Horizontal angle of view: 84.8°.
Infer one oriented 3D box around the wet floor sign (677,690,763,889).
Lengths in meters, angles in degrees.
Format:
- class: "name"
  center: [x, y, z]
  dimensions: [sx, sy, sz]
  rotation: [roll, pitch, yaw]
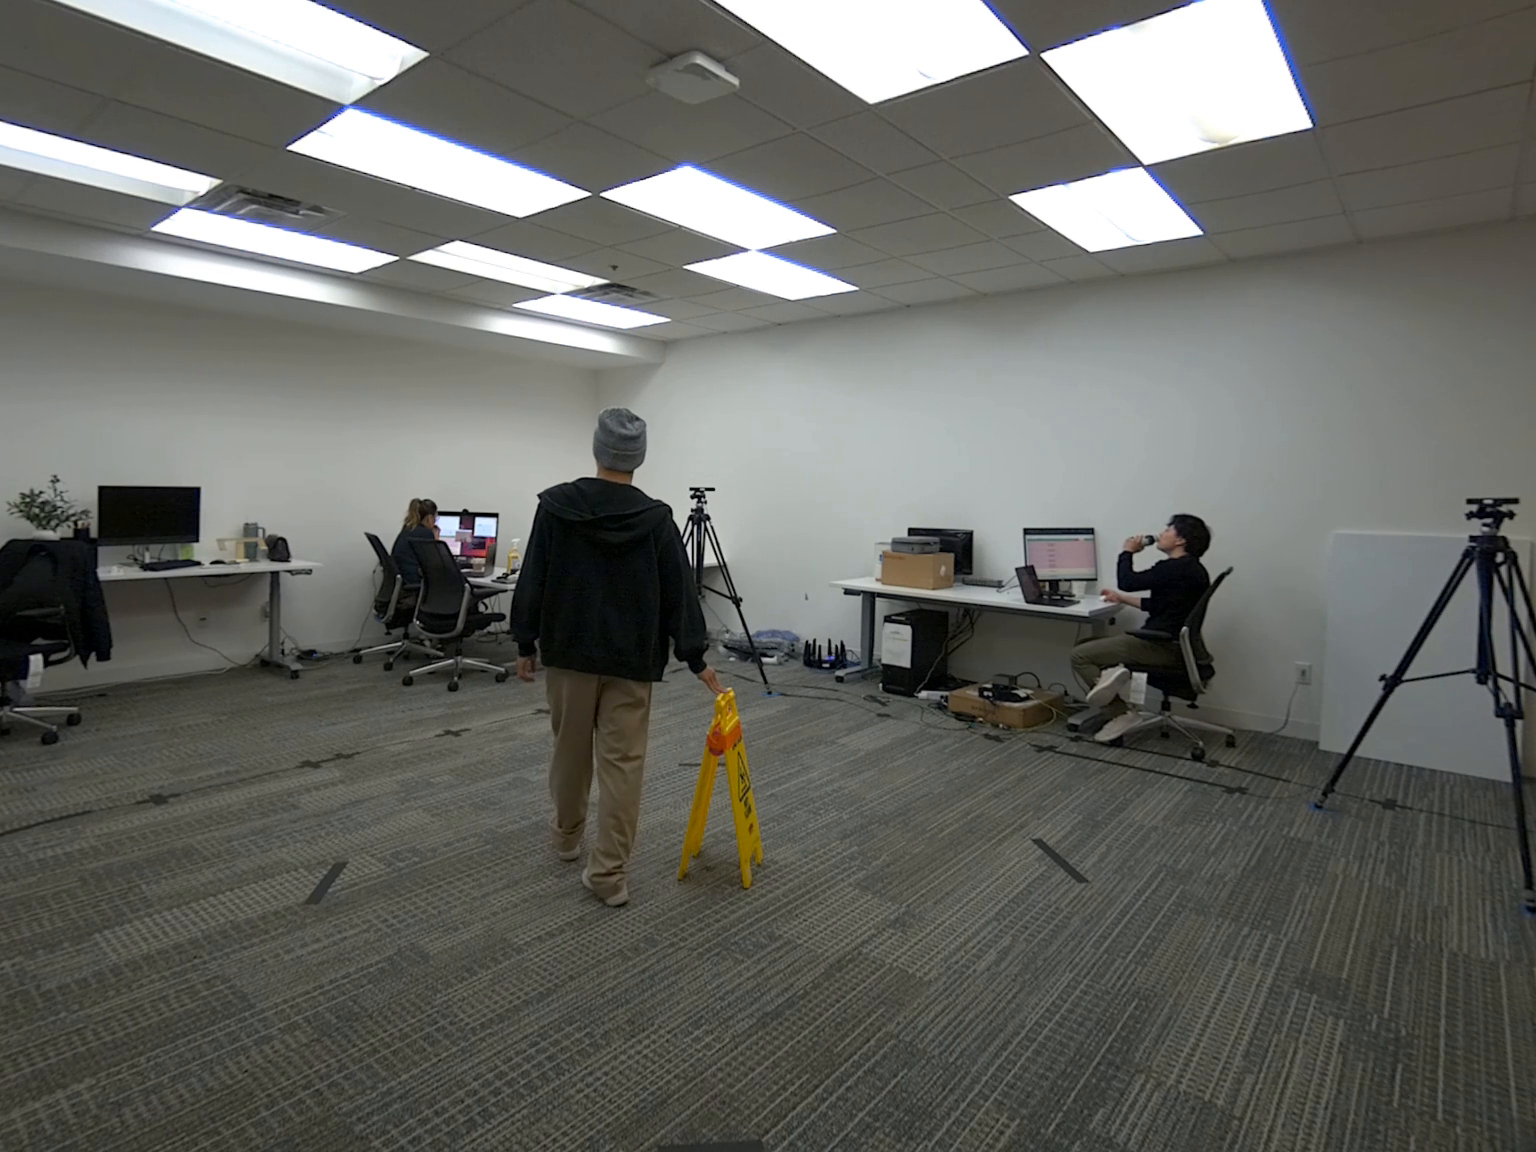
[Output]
- class: "wet floor sign"
  center: [-0.170, 0.747, 3.092]
  dimensions: [0.294, 0.643, 0.279]
  rotation: [3, 5, 12]
